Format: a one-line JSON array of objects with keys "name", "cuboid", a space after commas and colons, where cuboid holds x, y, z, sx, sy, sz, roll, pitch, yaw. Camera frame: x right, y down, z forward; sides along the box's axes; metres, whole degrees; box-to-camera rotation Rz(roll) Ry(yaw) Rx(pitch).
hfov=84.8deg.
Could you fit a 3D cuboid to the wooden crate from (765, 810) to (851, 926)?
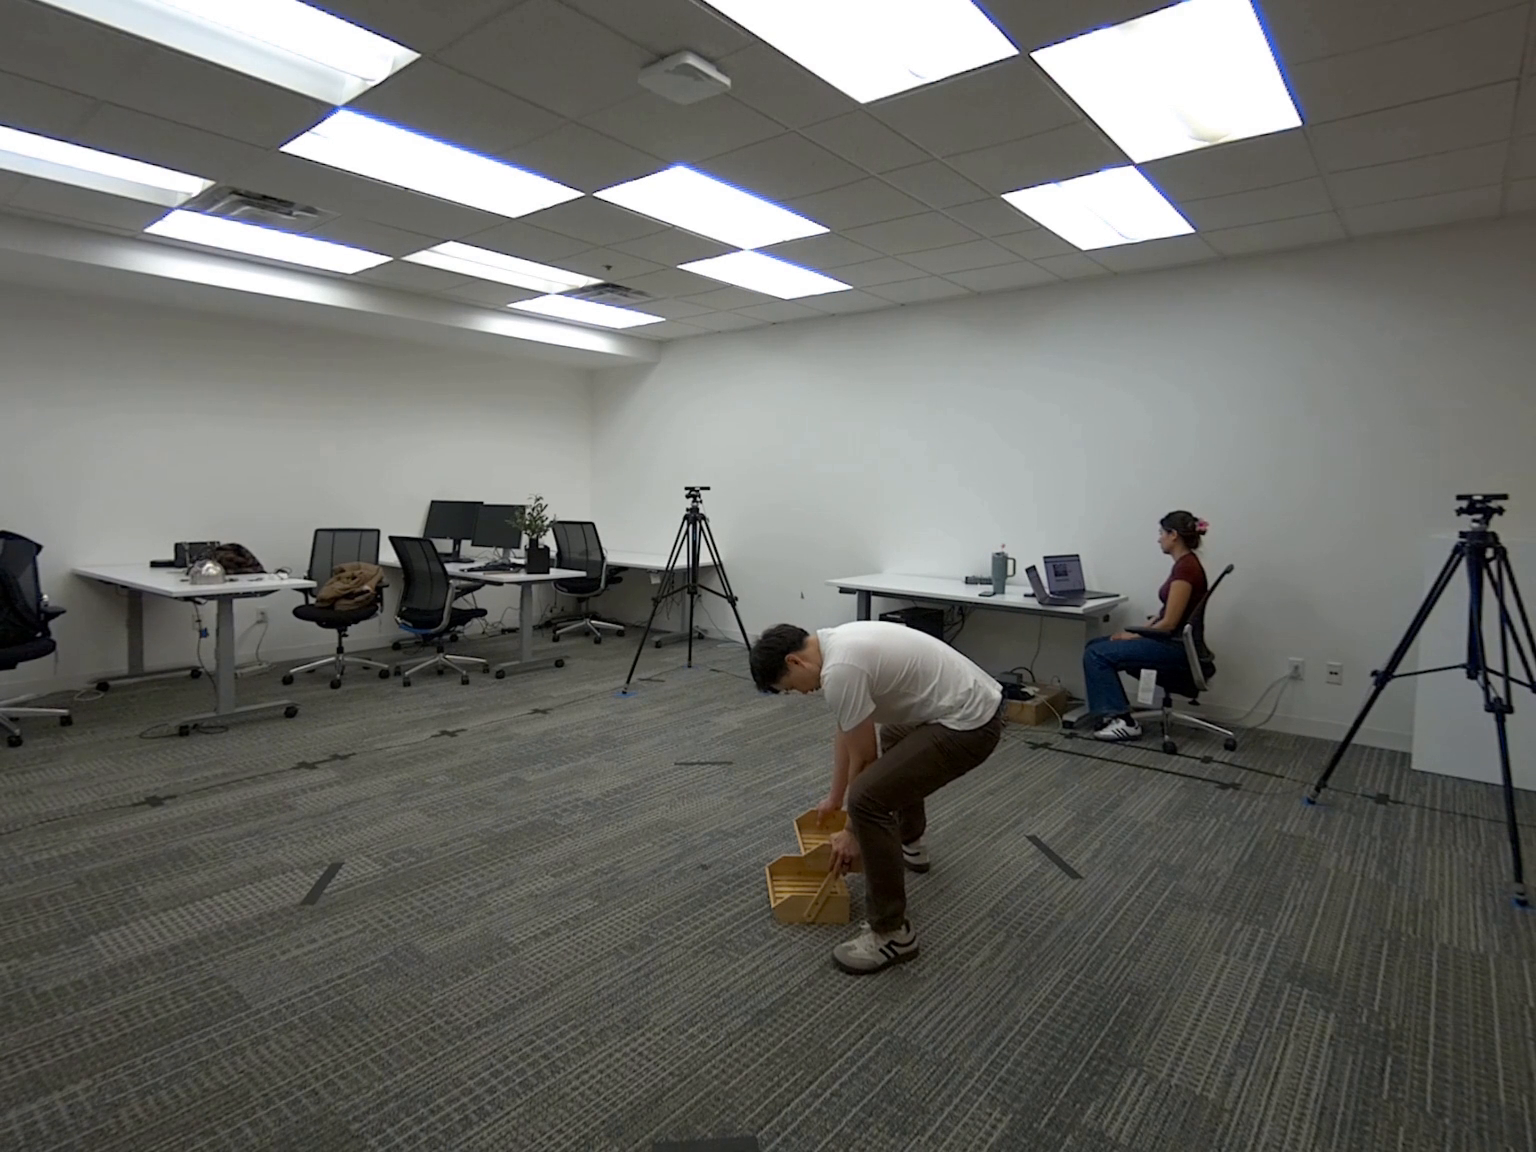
[{"name": "wooden crate", "cuboid": [0.147, 0.963, 2.868, 0.301, 0.272, 0.326, 1, 4, -3]}]
